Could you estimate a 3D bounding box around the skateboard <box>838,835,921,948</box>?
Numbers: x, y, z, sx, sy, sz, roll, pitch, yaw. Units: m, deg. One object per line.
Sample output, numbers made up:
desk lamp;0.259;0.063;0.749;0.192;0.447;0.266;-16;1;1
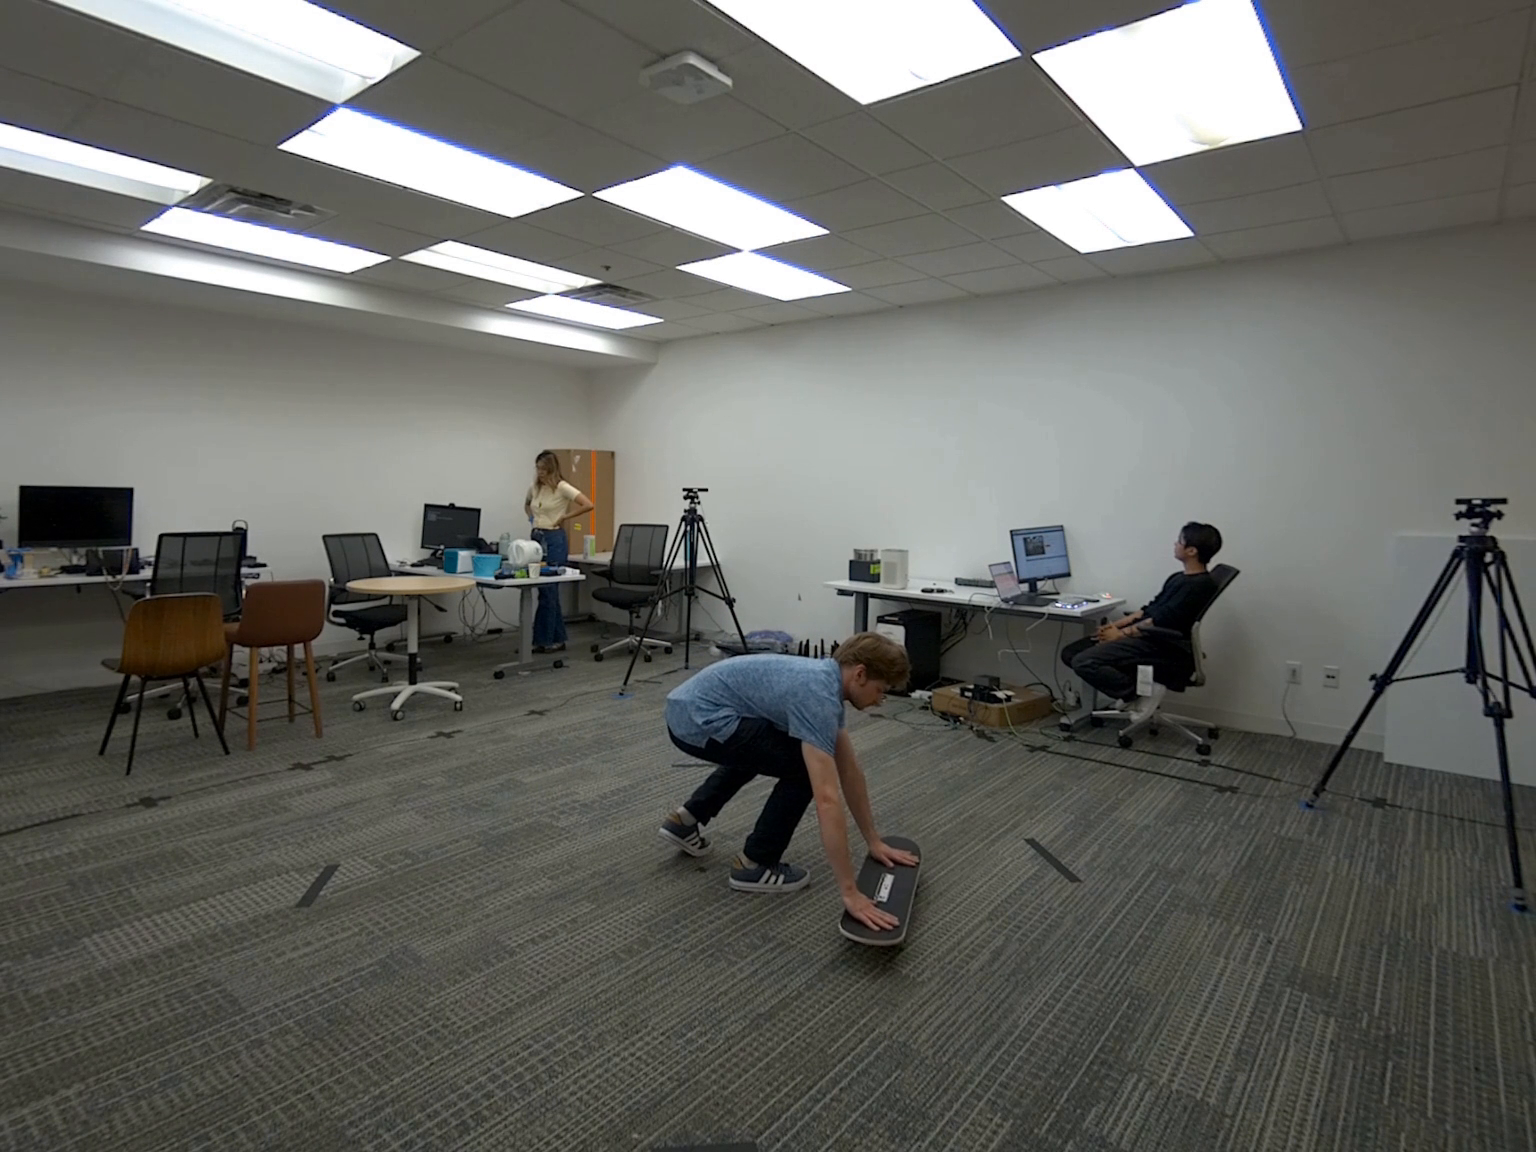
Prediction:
skateboard;0.374;1.056;2.811;0.197;0.110;0.775;5;6;15
